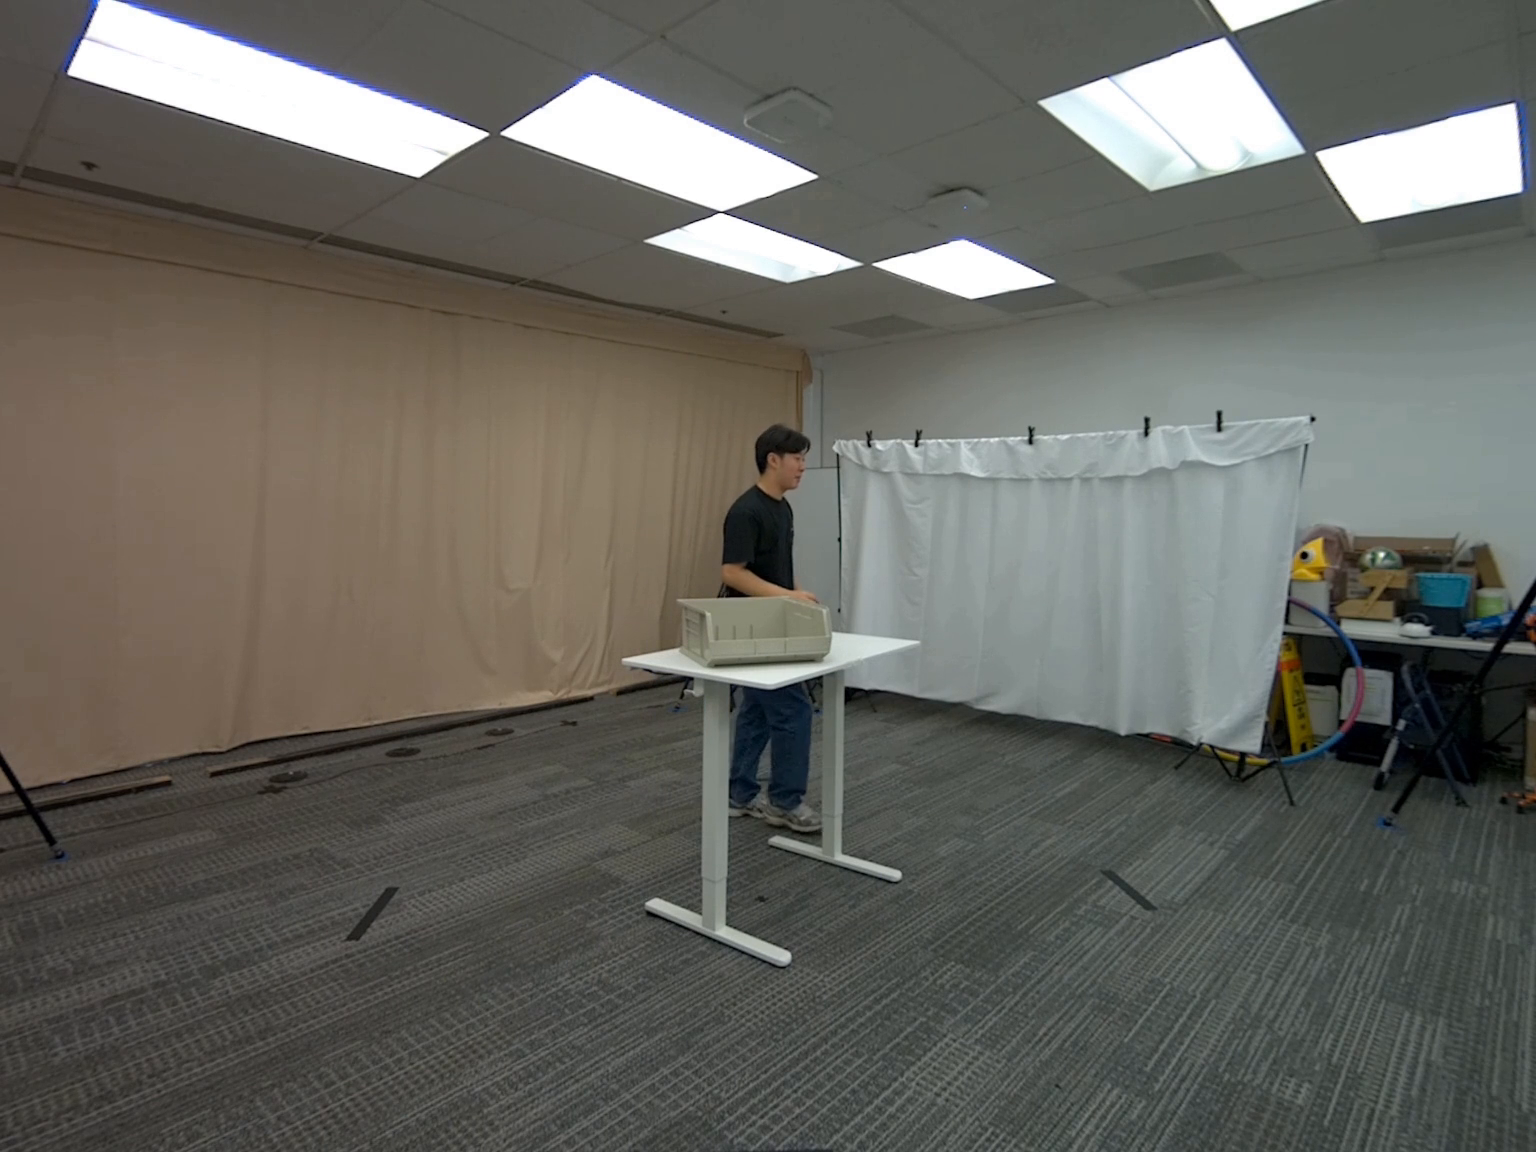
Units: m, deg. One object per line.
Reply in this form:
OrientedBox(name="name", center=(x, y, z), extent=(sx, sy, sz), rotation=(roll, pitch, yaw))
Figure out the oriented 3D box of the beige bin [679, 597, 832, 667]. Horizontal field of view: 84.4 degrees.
OrientedBox(name="beige bin", center=(-0.058, 0.186, 2.824), extent=(0.414, 0.188, 0.385), rotation=(-1, 4, -19))
